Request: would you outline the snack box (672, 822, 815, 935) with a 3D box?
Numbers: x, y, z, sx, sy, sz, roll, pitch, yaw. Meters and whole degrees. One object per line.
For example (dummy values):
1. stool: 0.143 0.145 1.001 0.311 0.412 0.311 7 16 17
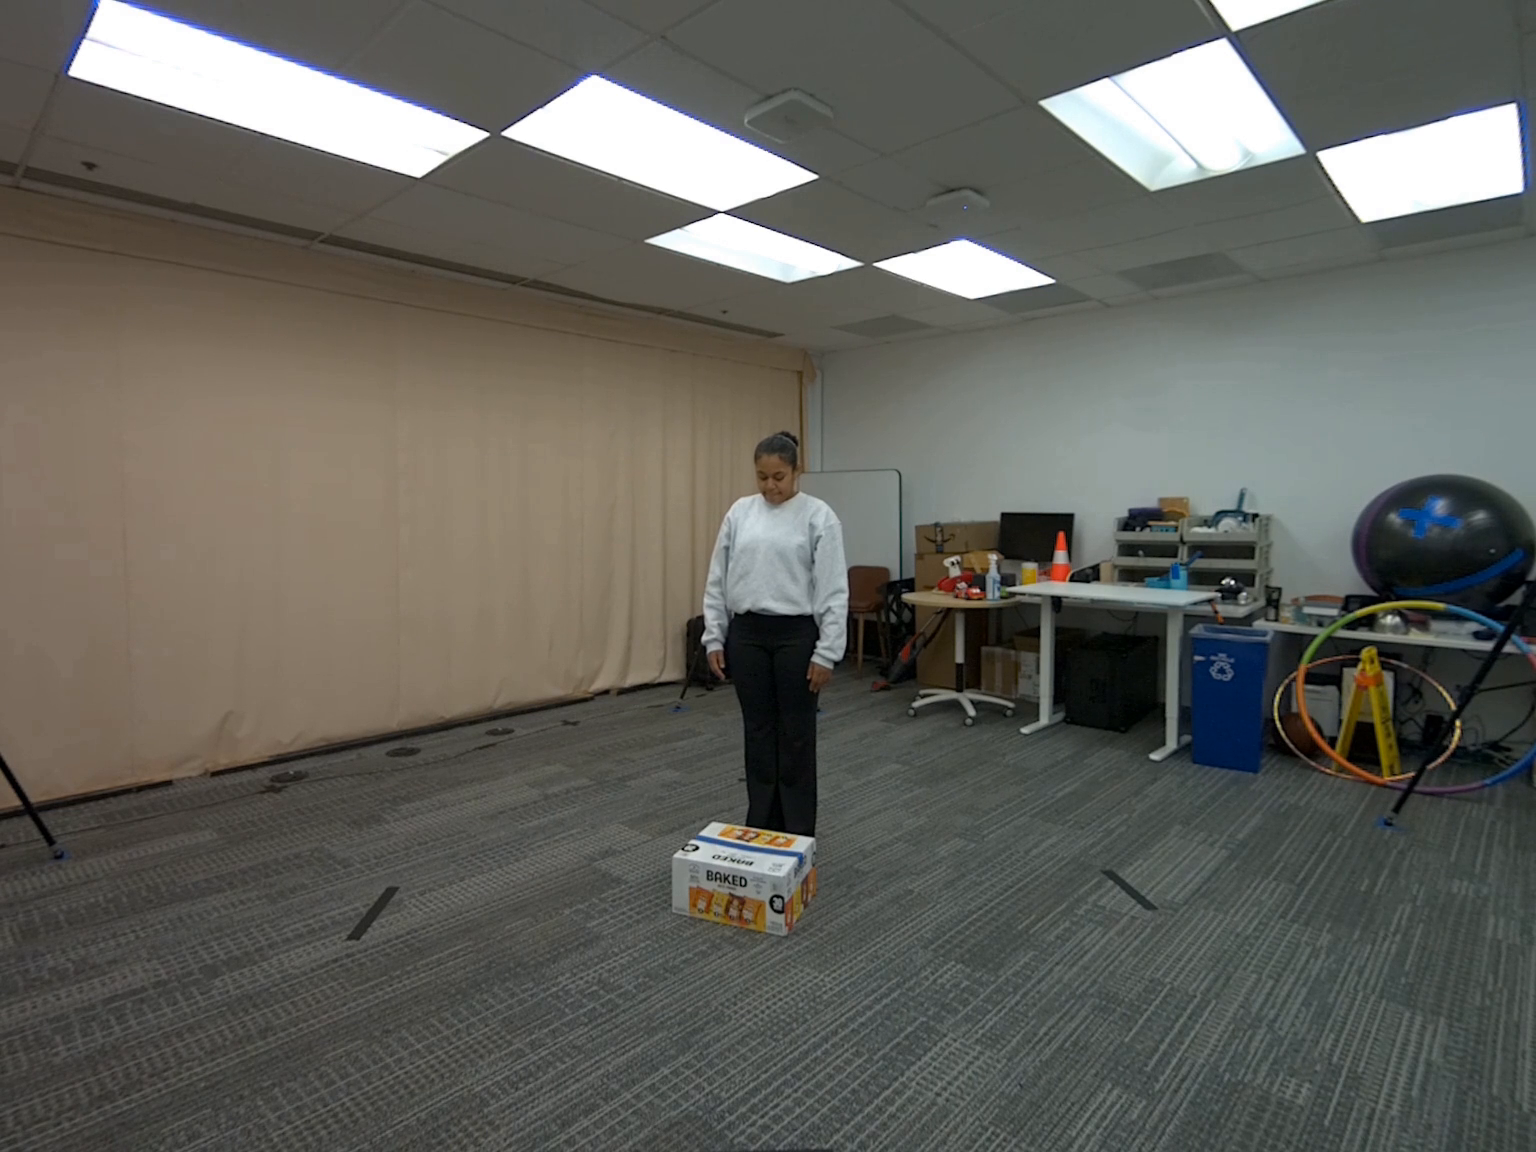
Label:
1. snack box: -0.076 1.047 2.937 0.415 0.205 0.333 2 4 22
